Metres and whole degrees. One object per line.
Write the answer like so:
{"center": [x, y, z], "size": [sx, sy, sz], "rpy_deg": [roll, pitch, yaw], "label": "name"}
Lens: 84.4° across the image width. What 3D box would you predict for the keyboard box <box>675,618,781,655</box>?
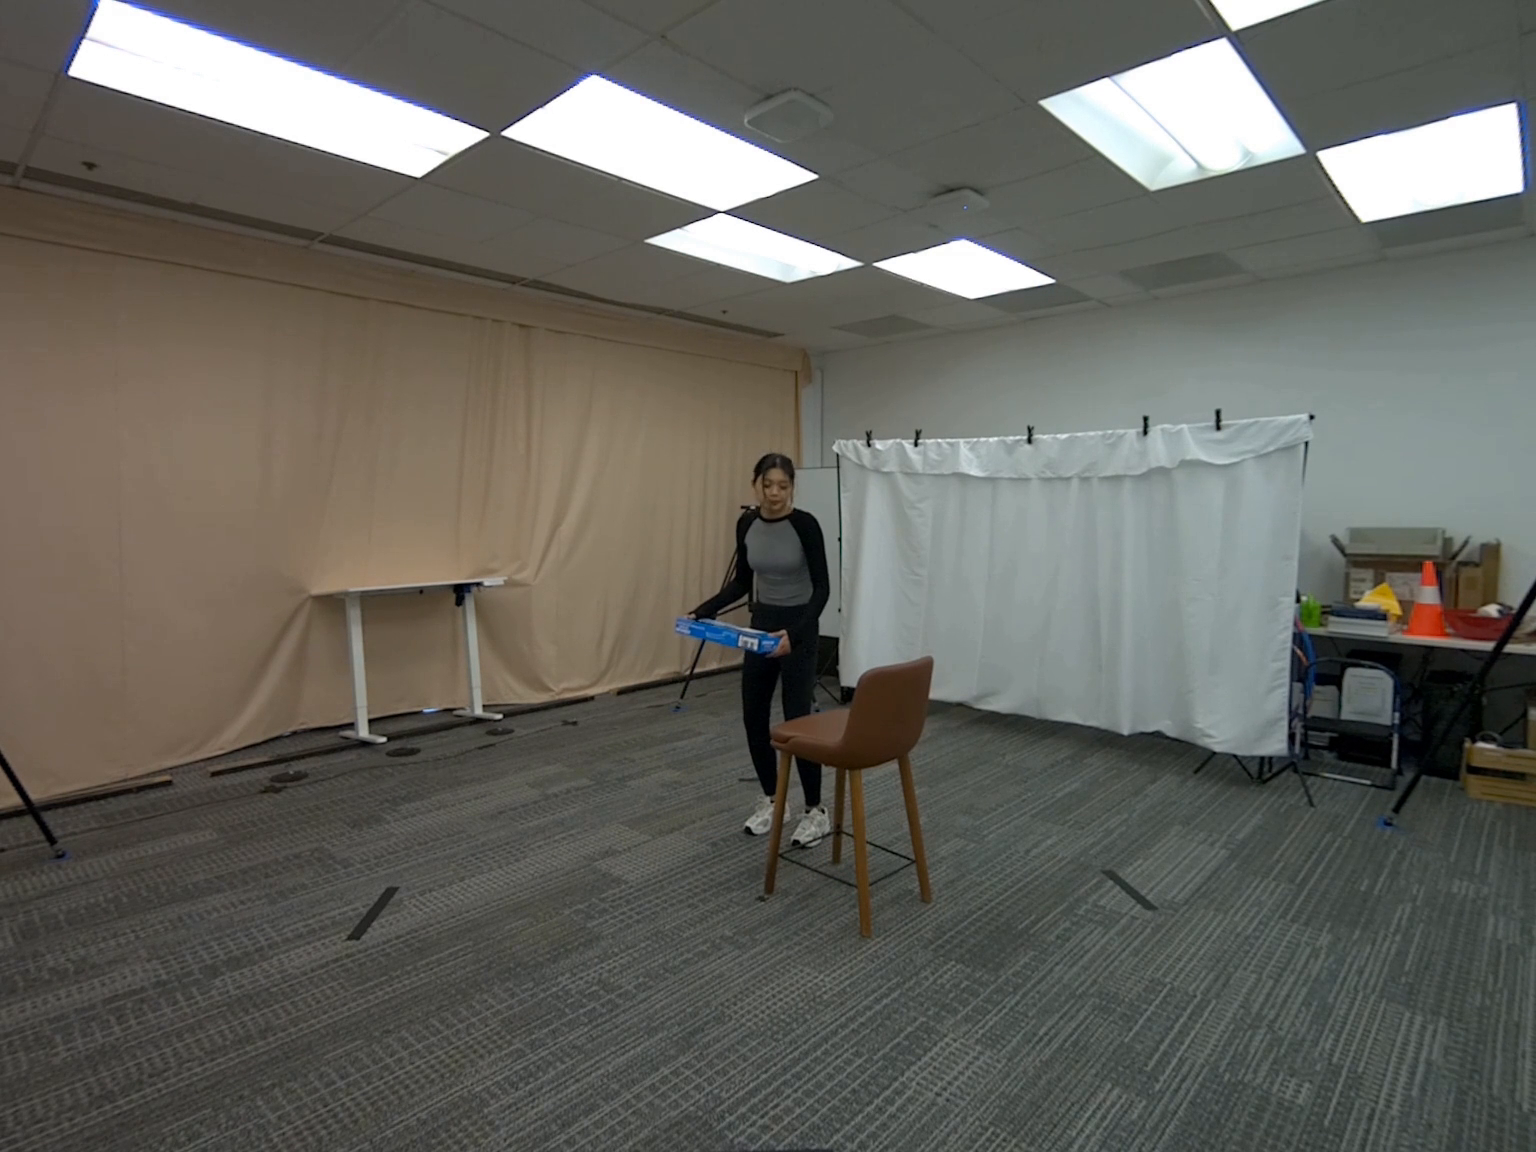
{"center": [-0.144, 0.235, 3.363], "size": [0.452, 0.059, 0.170], "rpy_deg": [9, 4, 38], "label": "keyboard box"}
